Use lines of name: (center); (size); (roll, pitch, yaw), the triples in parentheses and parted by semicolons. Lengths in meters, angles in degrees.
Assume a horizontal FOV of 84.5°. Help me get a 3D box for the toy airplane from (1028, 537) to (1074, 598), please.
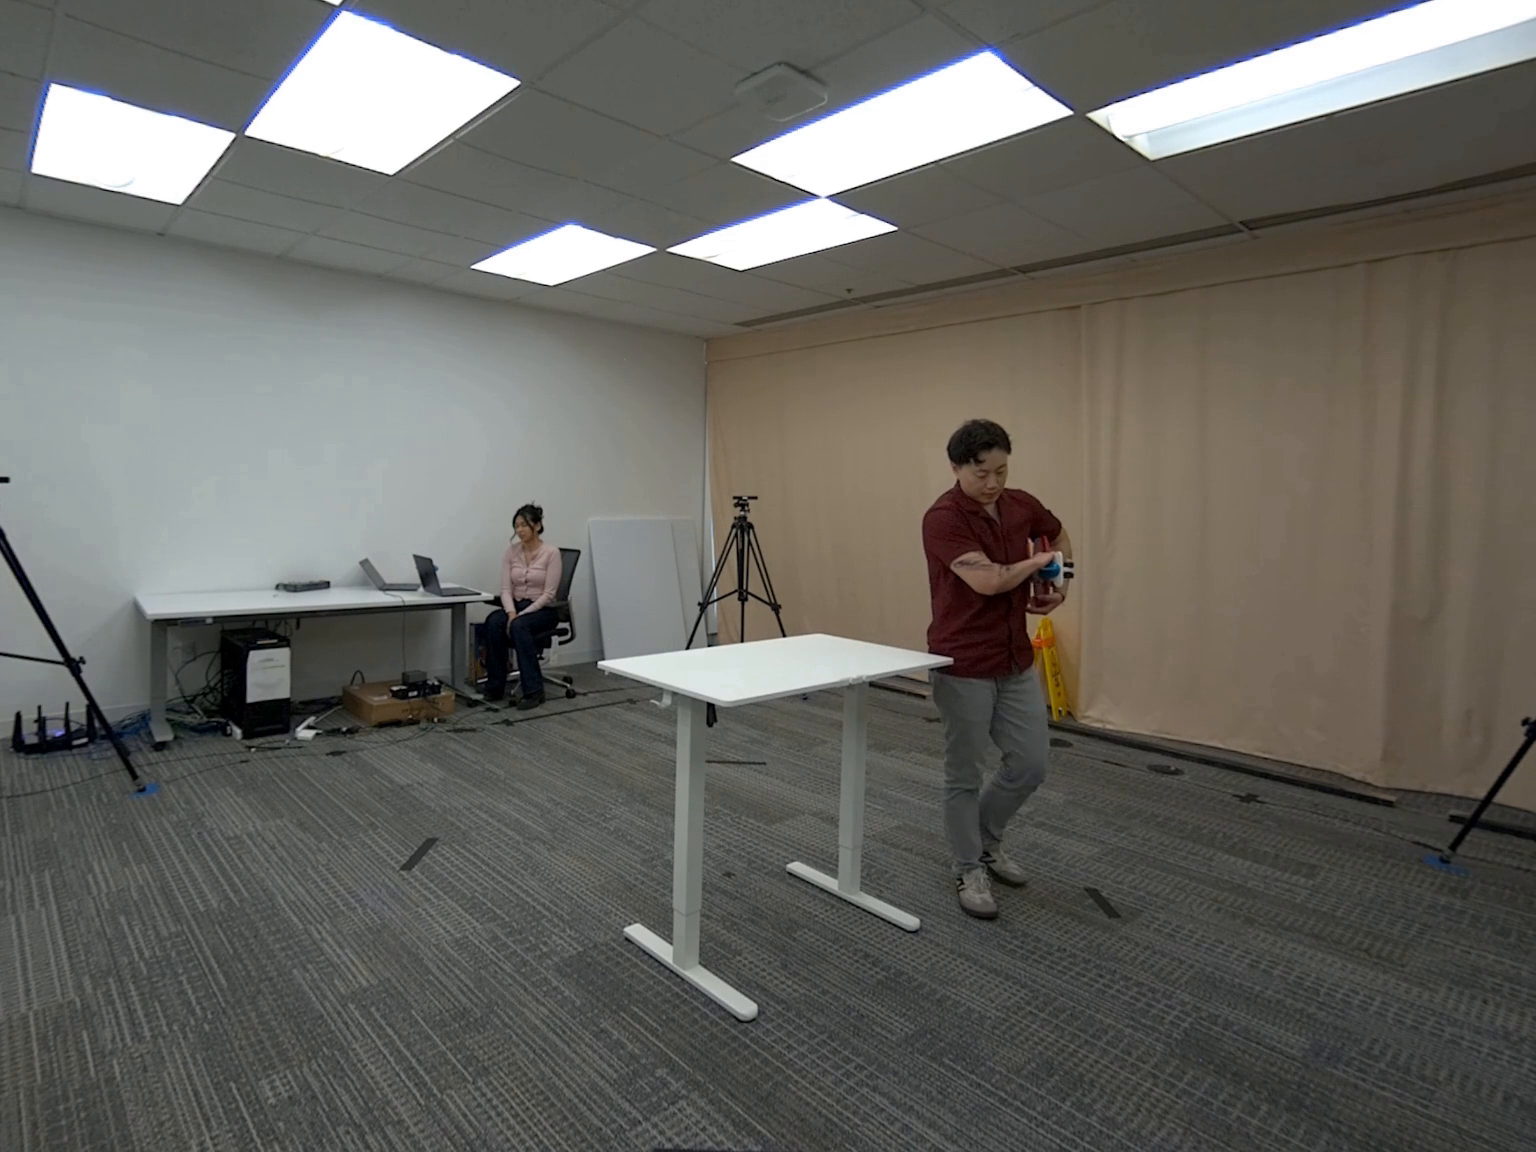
toy airplane: (0.948, -0.039, 2.965); (0.156, 0.256, 0.254); (0, -32, -1)
